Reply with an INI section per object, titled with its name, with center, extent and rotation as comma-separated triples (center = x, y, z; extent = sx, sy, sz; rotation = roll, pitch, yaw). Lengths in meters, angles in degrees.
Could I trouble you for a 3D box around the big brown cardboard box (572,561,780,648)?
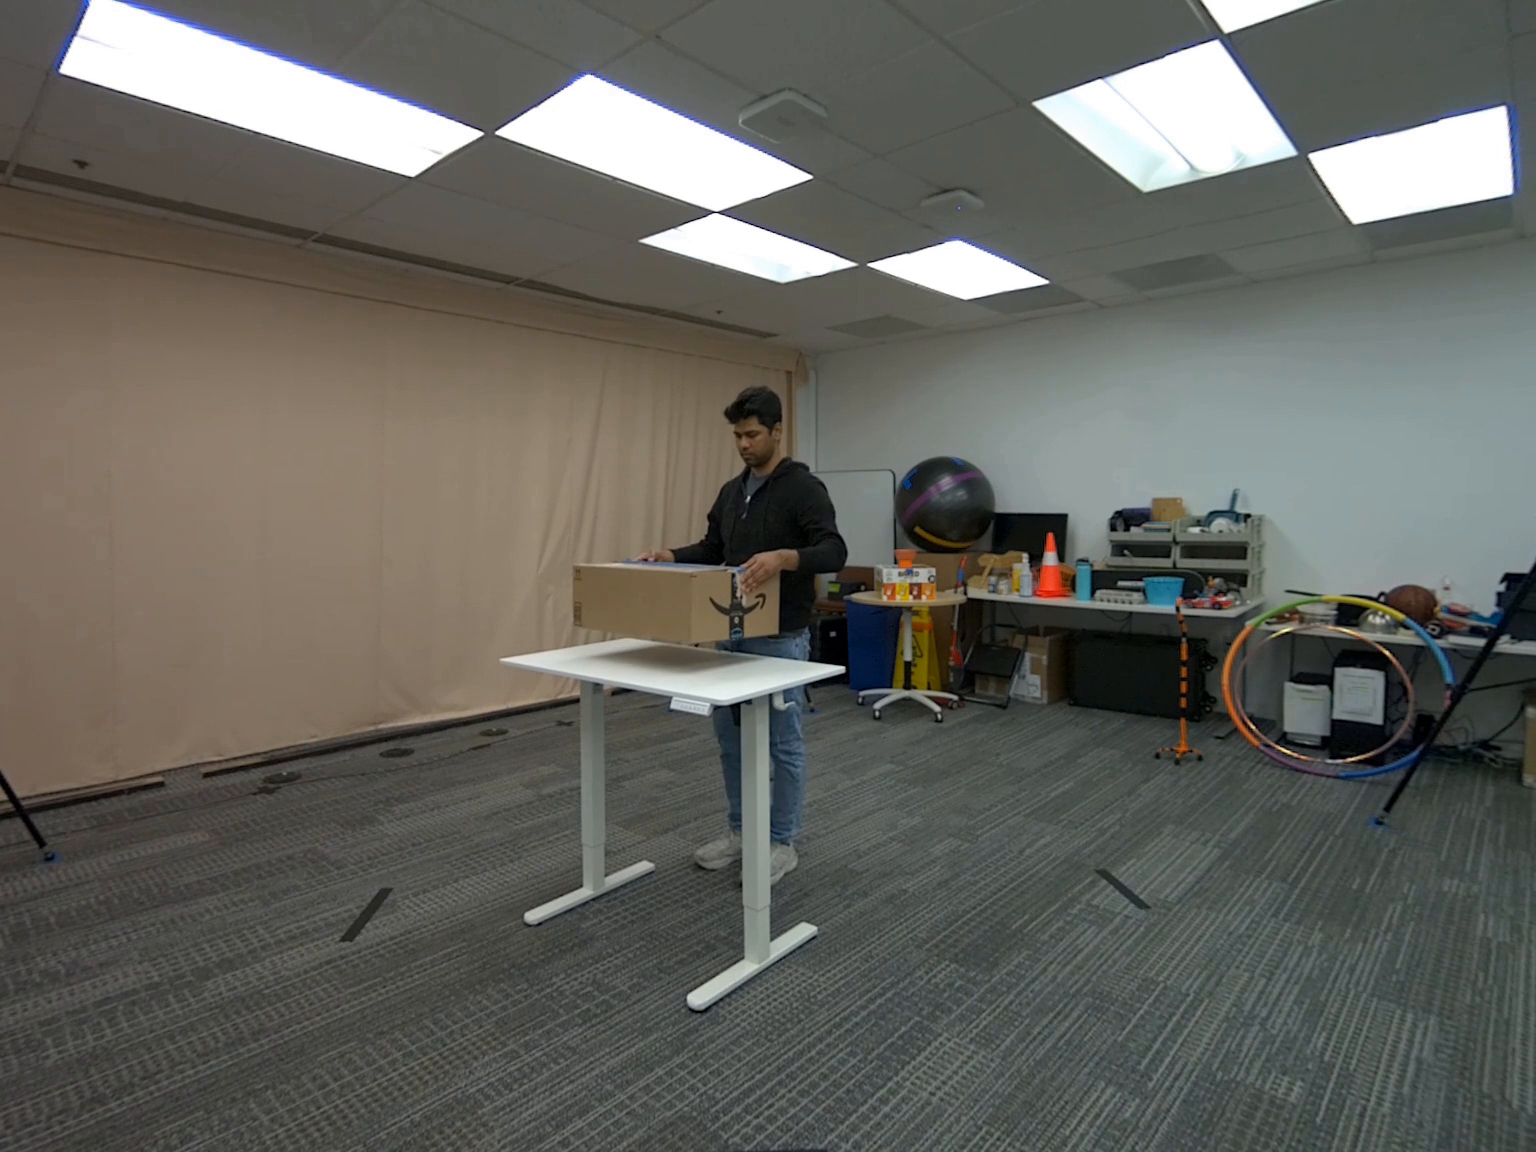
[big brown cardboard box]
center = -0.313, 0.079, 2.833
extent = 0.609, 0.233, 0.404
rotation = 5, 4, 40
